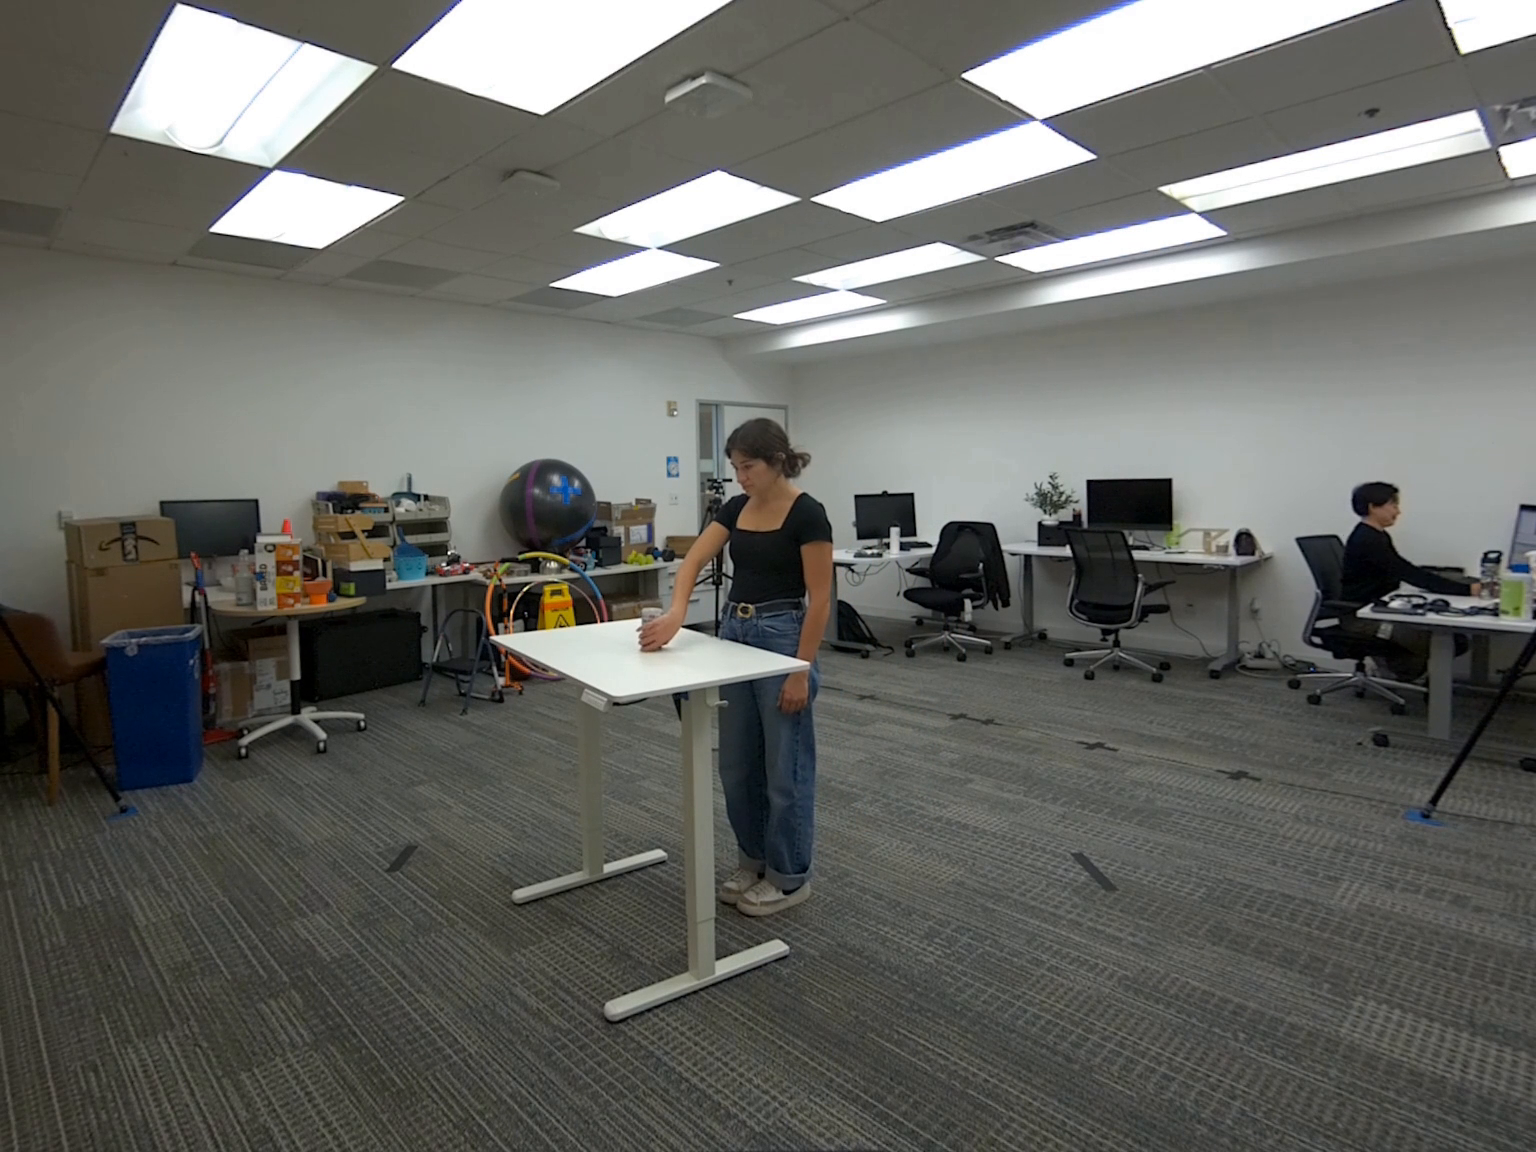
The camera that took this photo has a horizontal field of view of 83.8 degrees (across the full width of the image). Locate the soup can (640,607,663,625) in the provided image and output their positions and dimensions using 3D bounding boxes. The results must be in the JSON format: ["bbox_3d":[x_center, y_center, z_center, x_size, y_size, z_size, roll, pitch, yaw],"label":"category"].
[{"bbox_3d":[-0.340,0.161,2.614,0.067,0.121,0.067,-2,1,-2],"label":"soup can"}]
